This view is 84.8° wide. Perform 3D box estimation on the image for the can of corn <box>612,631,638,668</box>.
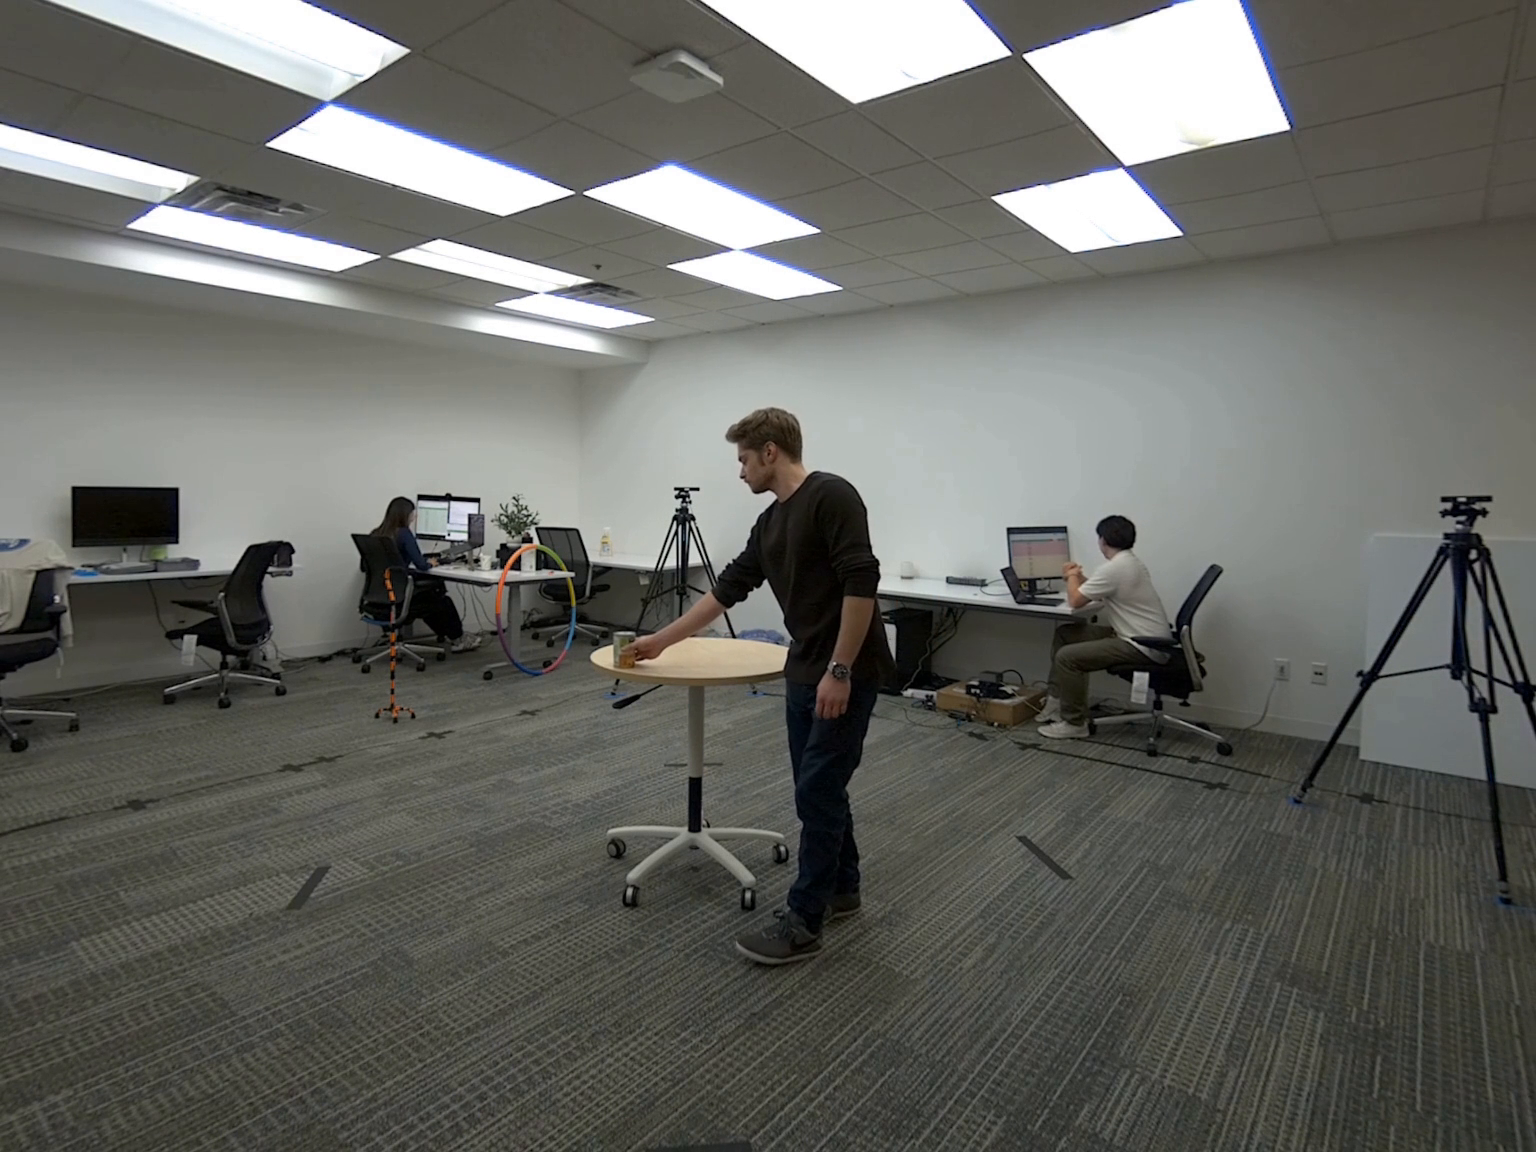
[{"bbox_3d":[-0.497,0.245,2.866,0.074,0.111,0.074,1,3,-2],"label":"can of corn"}]
